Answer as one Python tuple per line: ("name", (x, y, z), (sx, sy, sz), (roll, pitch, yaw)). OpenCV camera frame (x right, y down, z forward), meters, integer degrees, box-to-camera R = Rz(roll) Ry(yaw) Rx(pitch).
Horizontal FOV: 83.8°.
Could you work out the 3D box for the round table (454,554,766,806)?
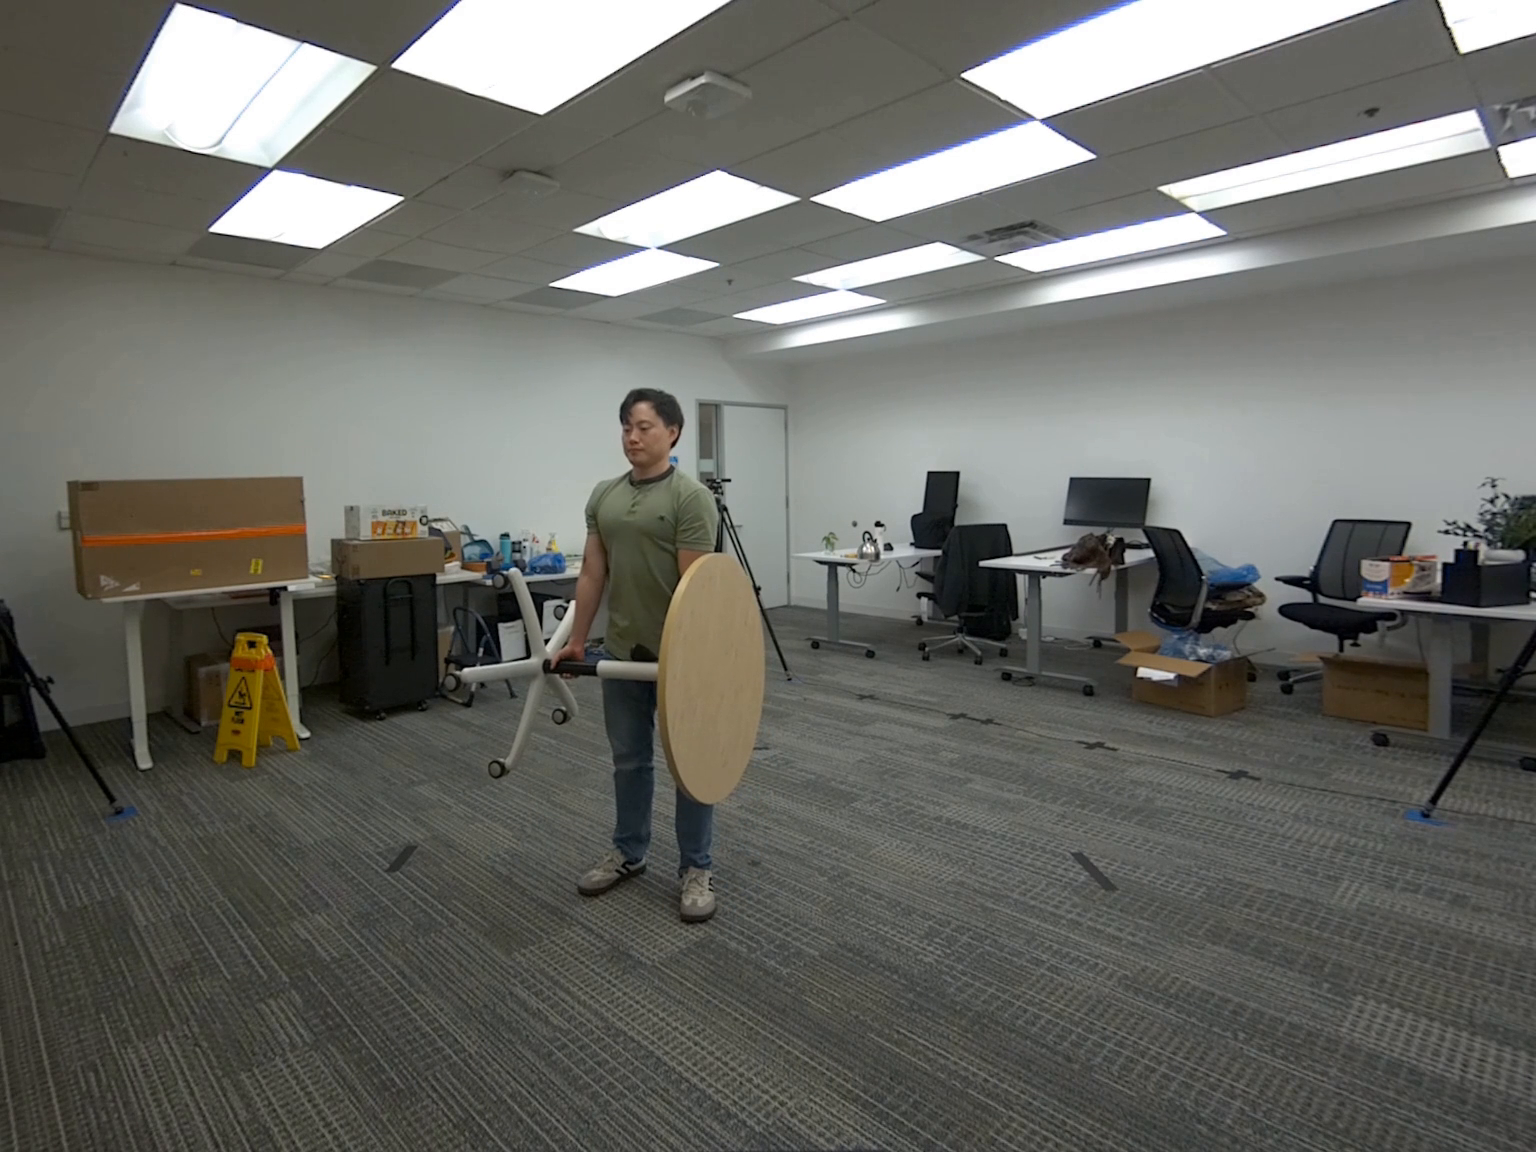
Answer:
("round table", (-0.517, 0.320, 2.818), (0.810, 0.761, 0.751), (-1, 5, 22))
